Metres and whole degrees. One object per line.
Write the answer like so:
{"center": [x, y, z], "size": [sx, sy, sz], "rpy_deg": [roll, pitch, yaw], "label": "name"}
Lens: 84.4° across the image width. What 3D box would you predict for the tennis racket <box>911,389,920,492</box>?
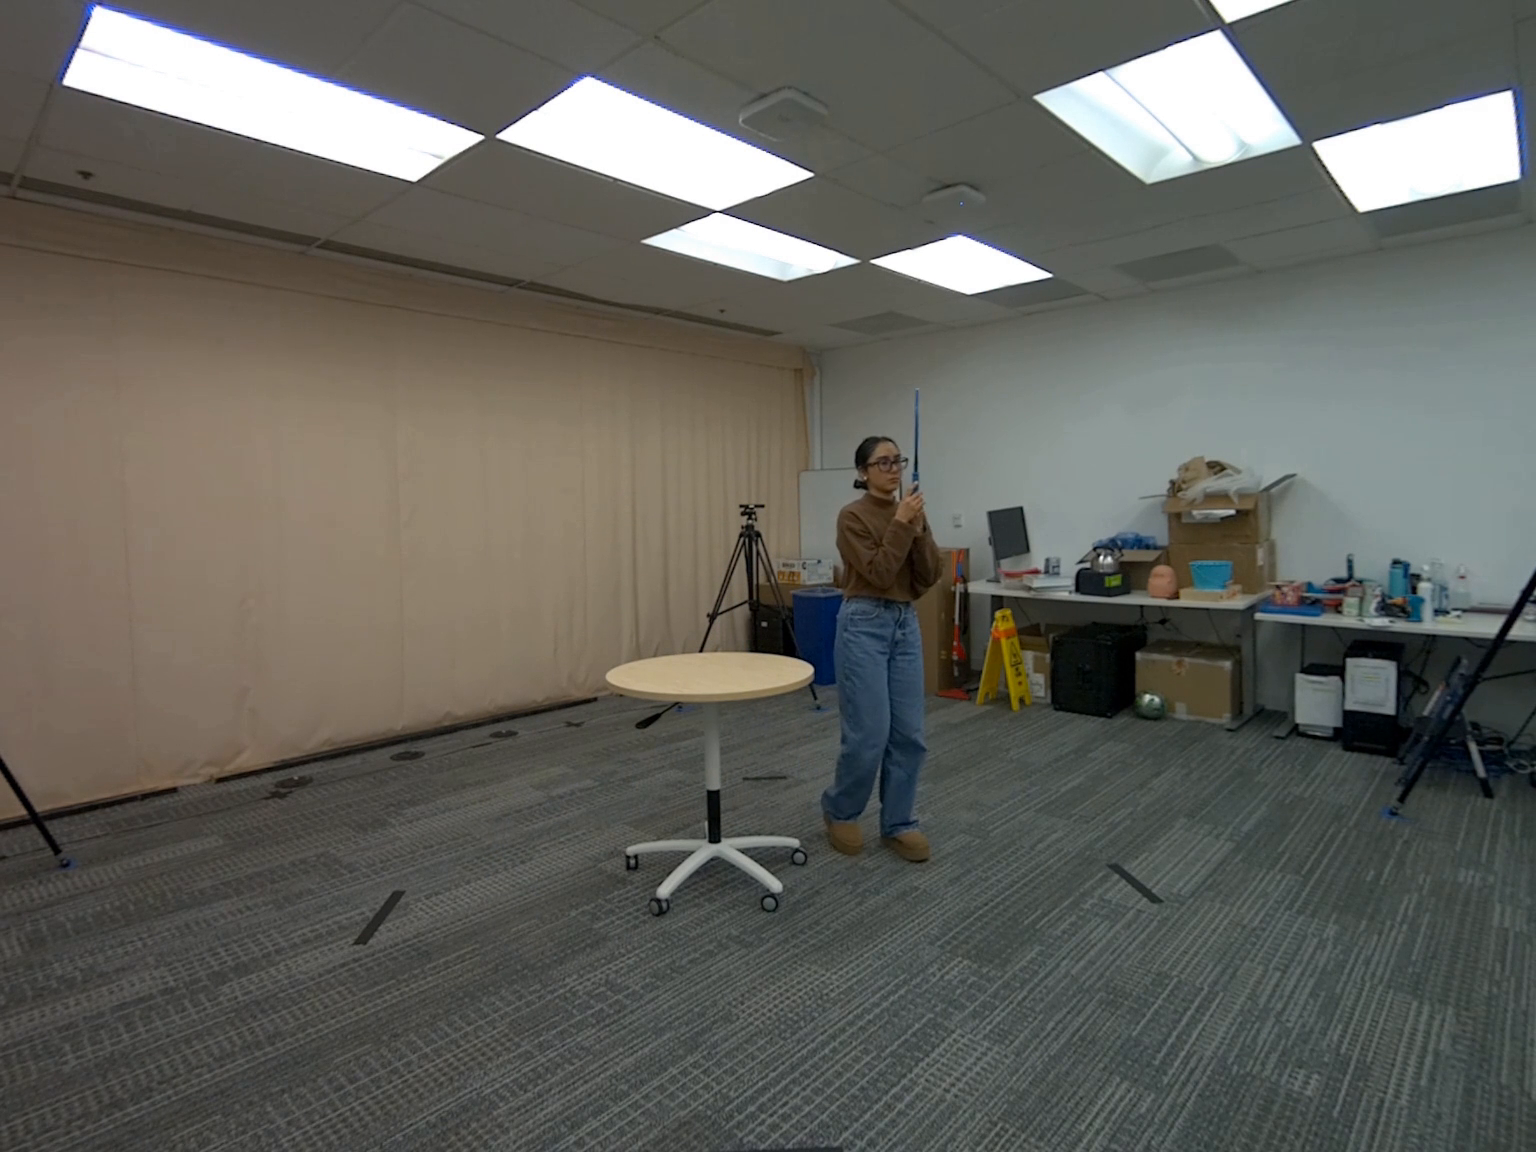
{"center": [0.559, -0.487, 3.173], "size": [0.032, 0.430, 0.213], "rpy_deg": [3, 12, 8], "label": "tennis racket"}
